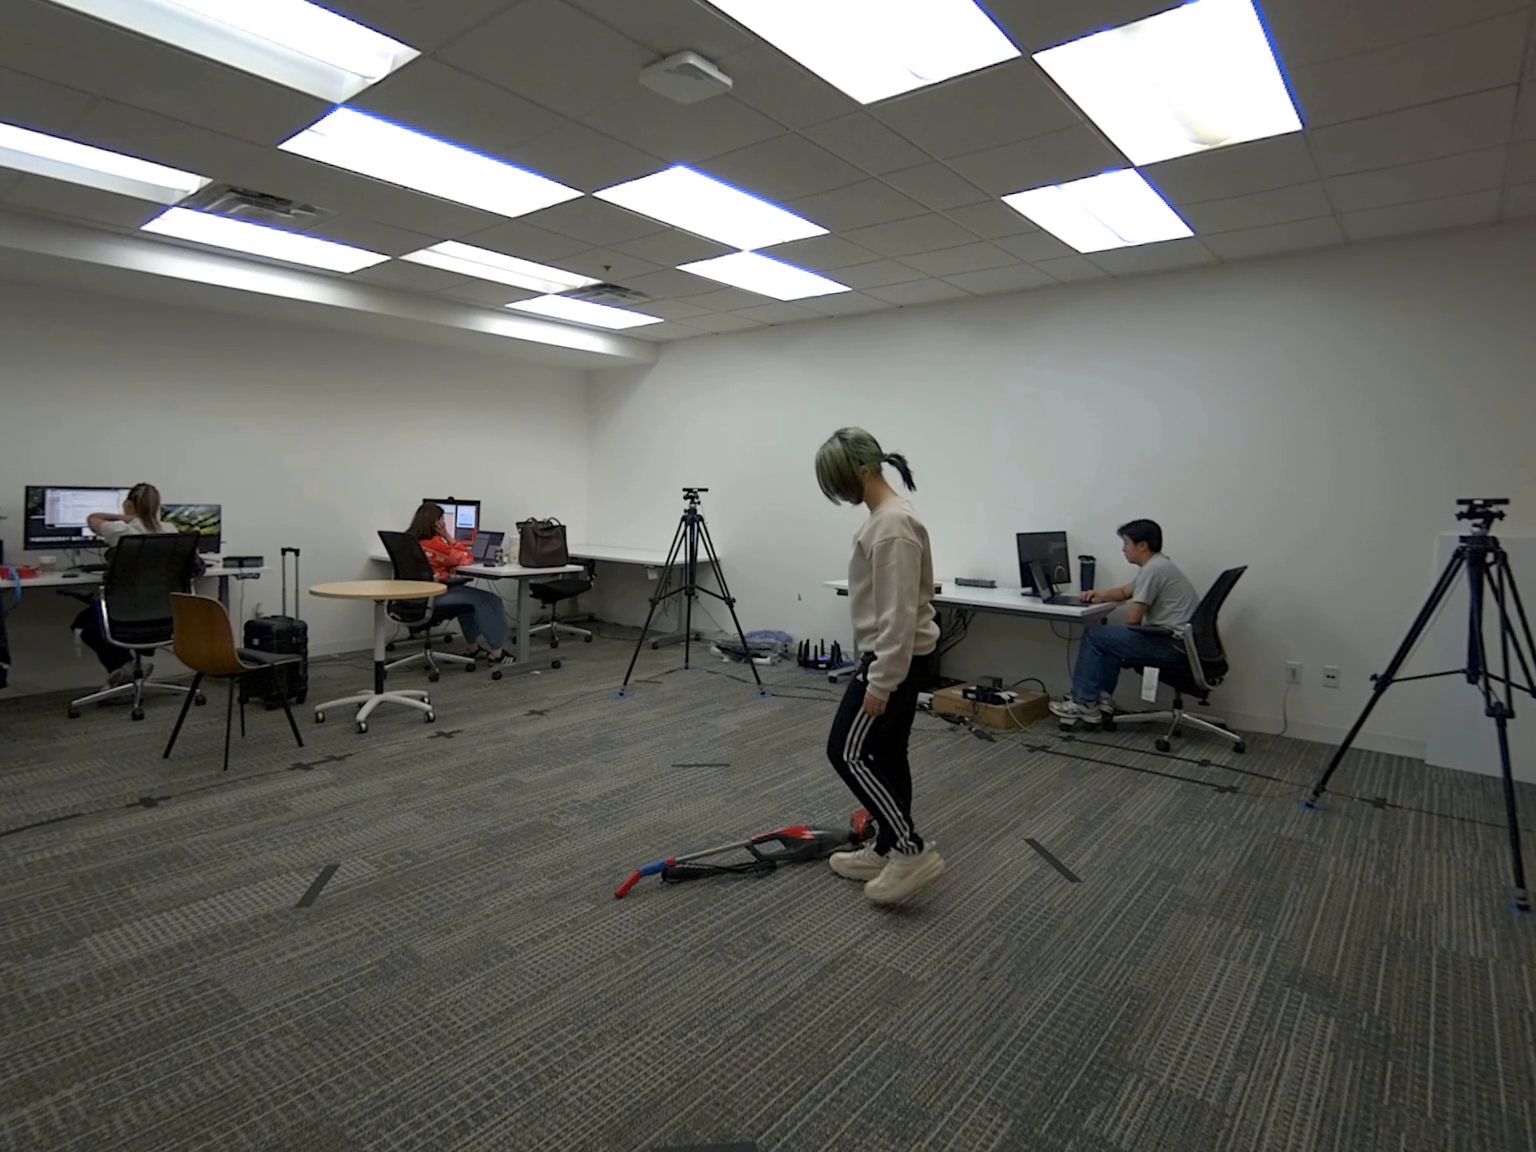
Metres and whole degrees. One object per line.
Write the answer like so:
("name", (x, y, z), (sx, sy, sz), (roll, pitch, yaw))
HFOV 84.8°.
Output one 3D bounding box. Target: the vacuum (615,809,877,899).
("vacuum", (-0.064, 1.019, 3.122), (1.025, 0.148, 0.251), (-6, -25, -28))
